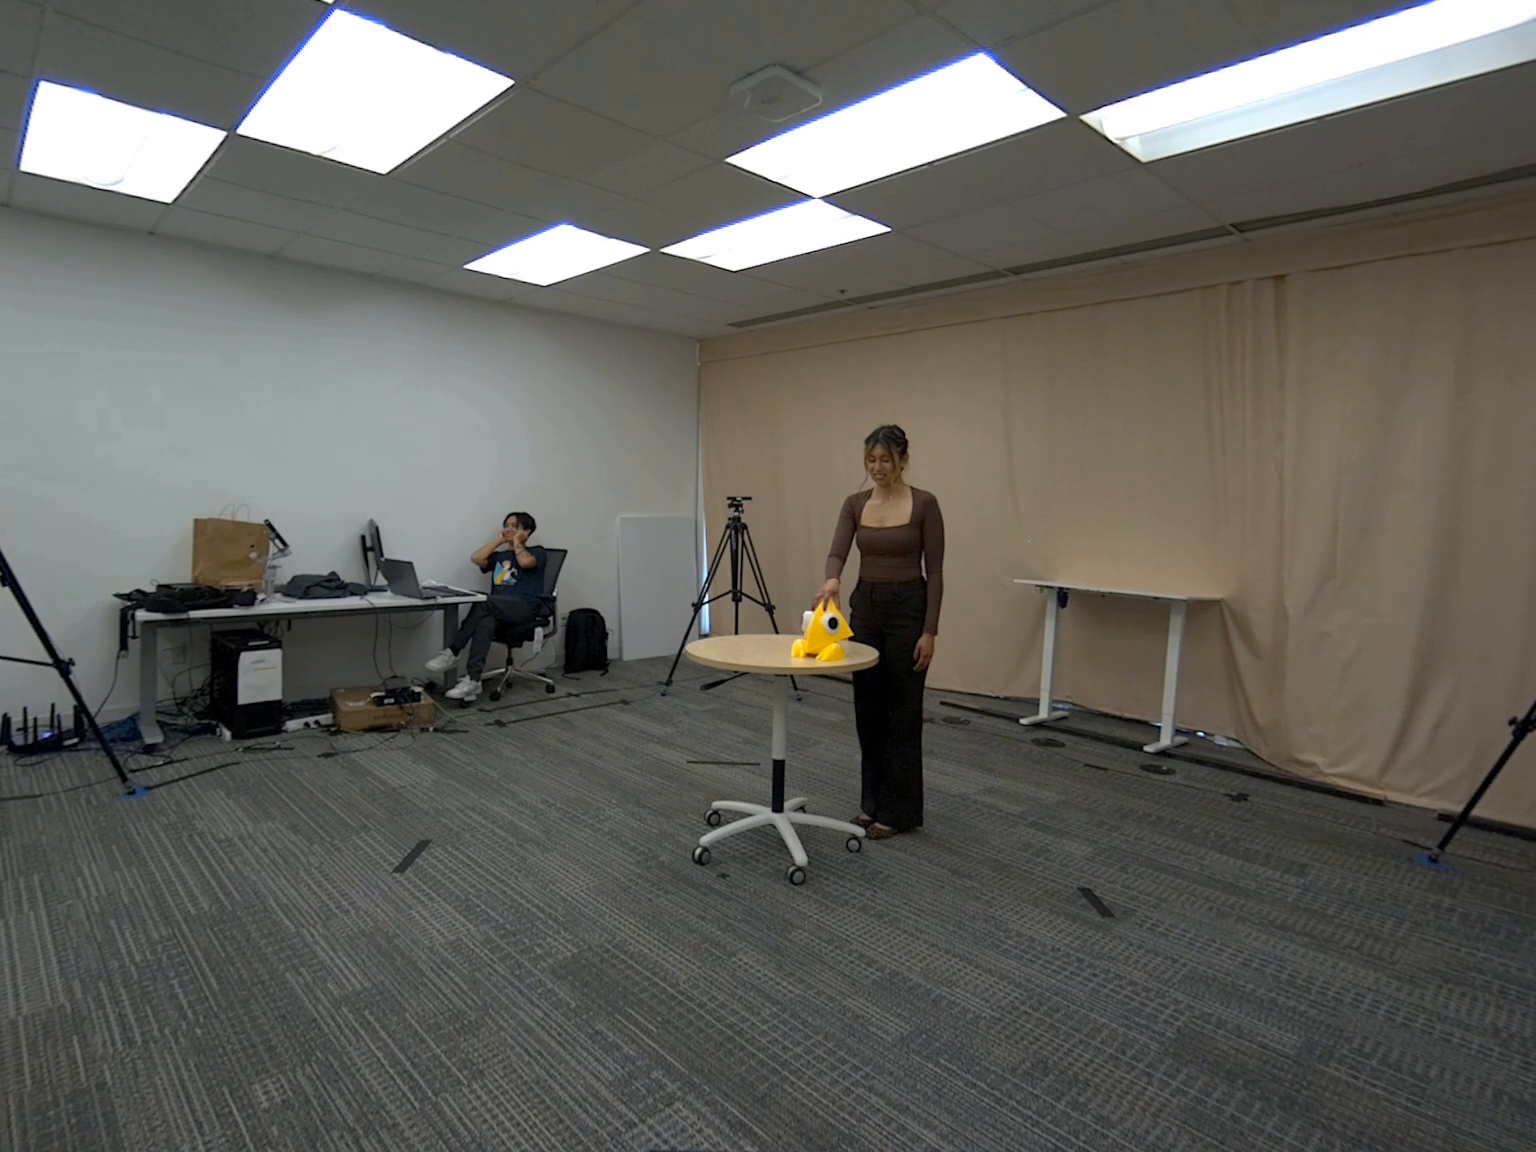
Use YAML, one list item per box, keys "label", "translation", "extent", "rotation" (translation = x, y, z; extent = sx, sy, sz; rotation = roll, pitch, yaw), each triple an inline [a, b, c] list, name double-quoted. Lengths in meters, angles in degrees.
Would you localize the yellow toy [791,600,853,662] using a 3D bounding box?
- label: "yellow toy"
  translation: [0.187, 0.191, 3.215]
  extent: [0.209, 0.230, 0.189]
  rotation: [3, 4, 32]
